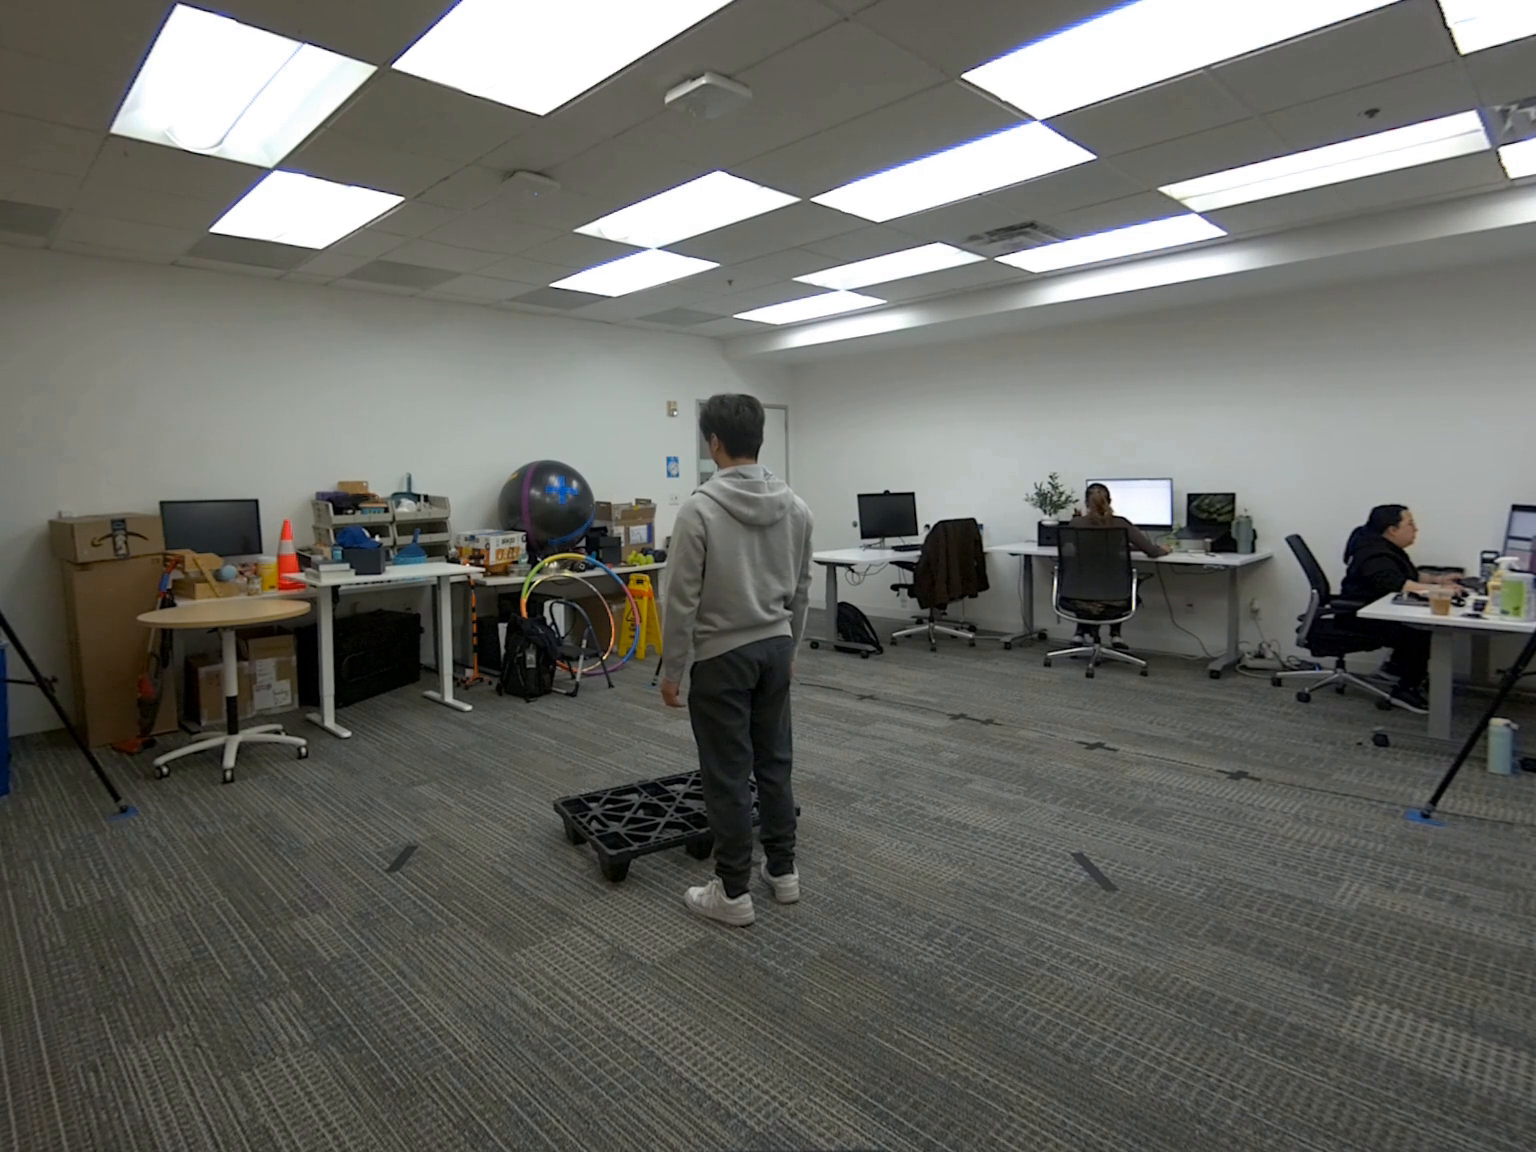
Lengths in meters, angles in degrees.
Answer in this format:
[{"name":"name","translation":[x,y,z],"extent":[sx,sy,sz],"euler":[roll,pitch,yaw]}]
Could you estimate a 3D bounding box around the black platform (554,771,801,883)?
[{"name":"black platform","translation":[-0.356,0.957,3.352],"extent":[0.786,0.142,0.623],"euler":[-5,8,-31]}]
